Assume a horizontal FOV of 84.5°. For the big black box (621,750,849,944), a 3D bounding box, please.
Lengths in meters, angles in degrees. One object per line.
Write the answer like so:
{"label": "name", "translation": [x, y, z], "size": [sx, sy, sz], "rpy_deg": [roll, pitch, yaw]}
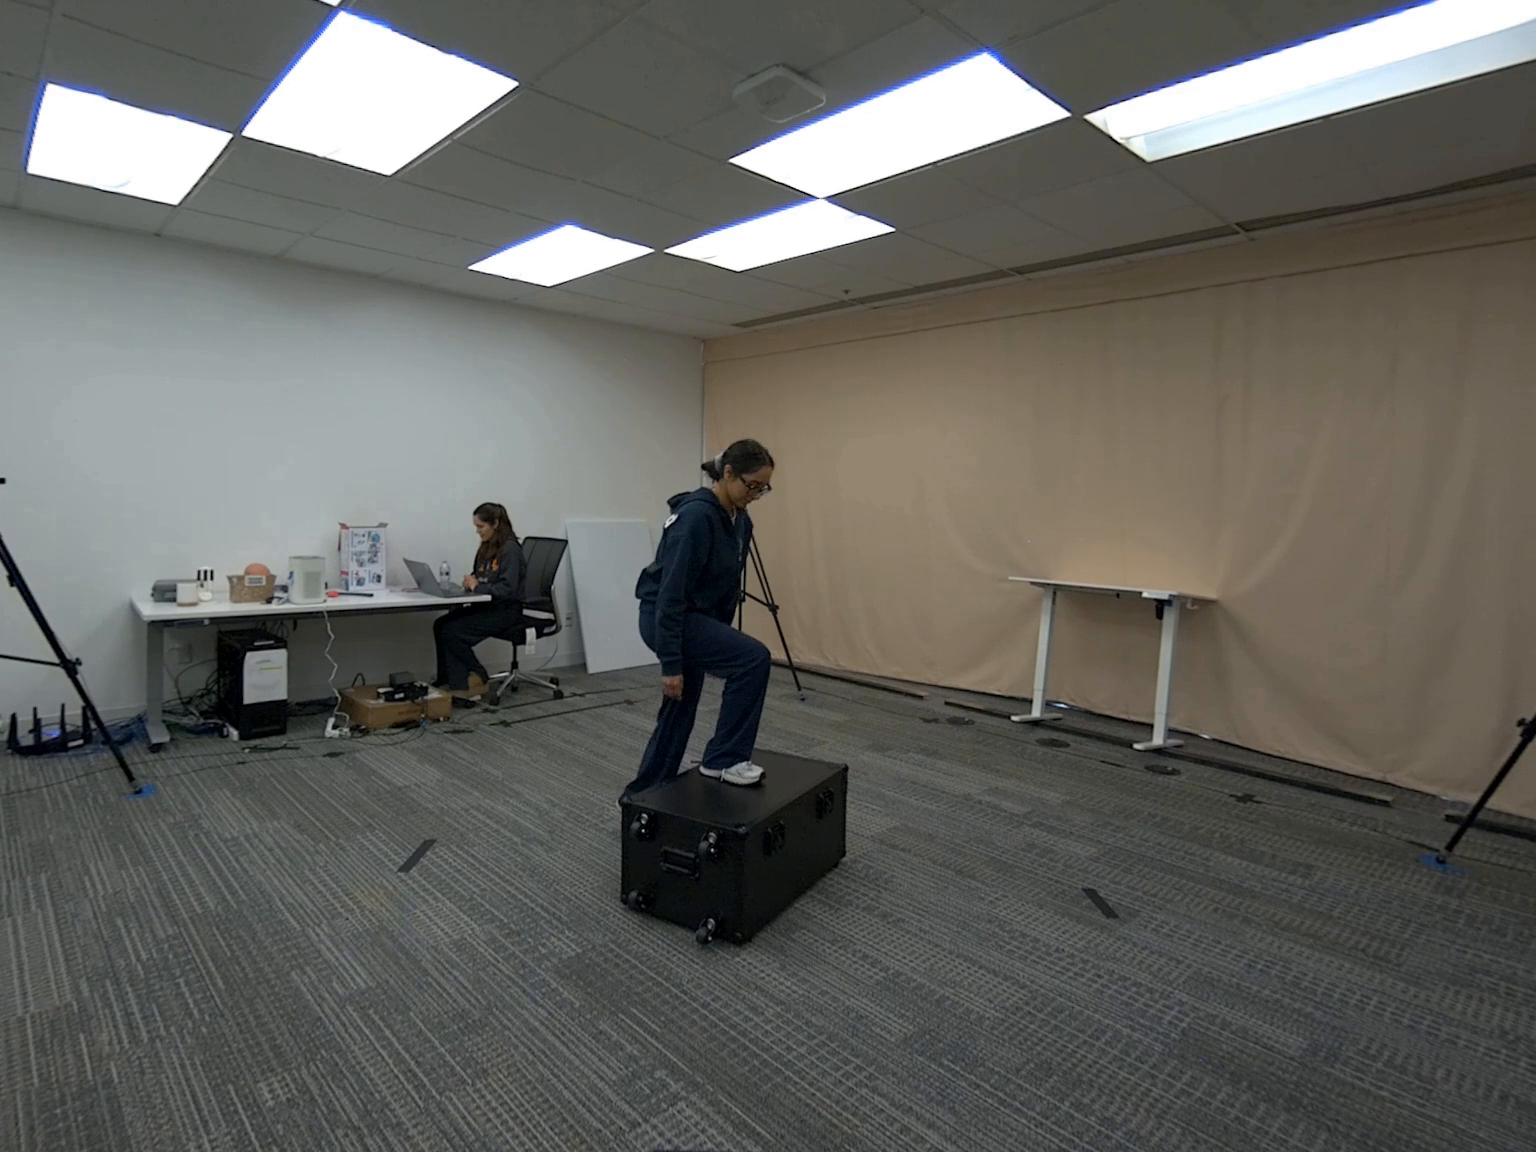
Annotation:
{"label": "big black box", "translation": [-0.118, 0.928, 3.000], "size": [0.532, 0.395, 0.845], "rpy_deg": [4, 5, 29]}
